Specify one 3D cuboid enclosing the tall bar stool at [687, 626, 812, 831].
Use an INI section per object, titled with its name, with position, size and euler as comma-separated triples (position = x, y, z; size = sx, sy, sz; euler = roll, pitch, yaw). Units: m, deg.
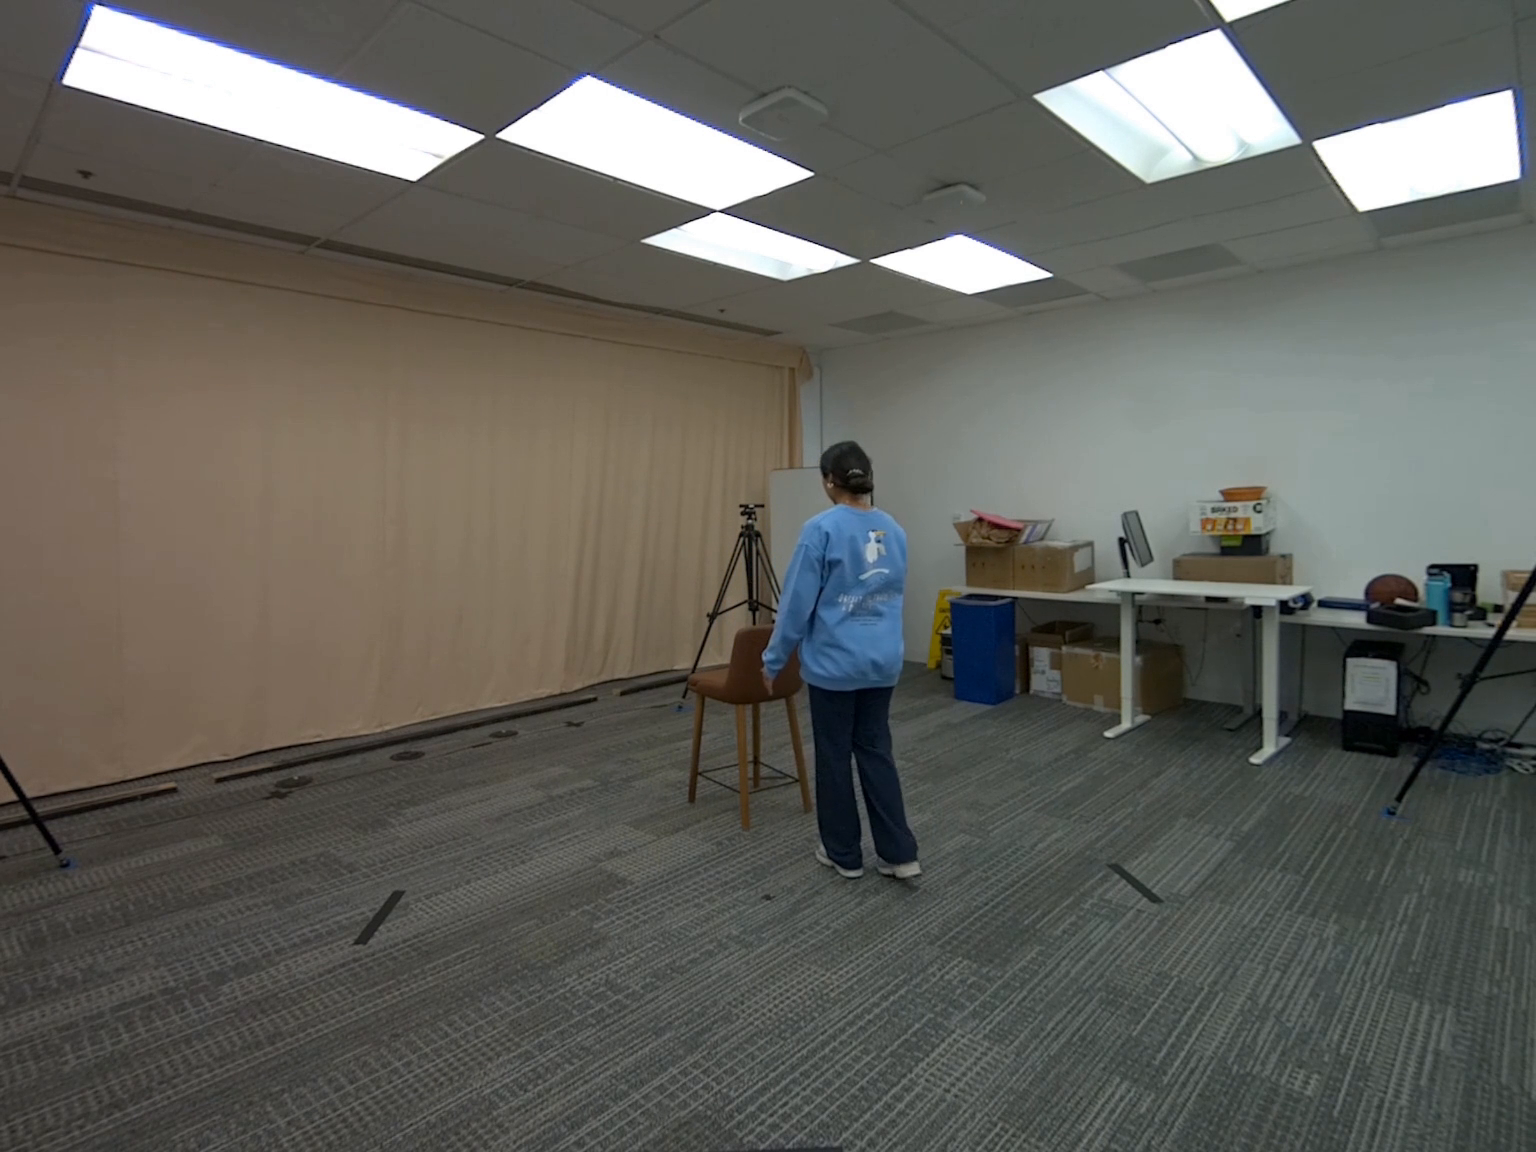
[tall bar stool]
position = -0.090, 0.626, 3.860
size = 0.443, 0.887, 0.482
euler = -3, 6, -35
